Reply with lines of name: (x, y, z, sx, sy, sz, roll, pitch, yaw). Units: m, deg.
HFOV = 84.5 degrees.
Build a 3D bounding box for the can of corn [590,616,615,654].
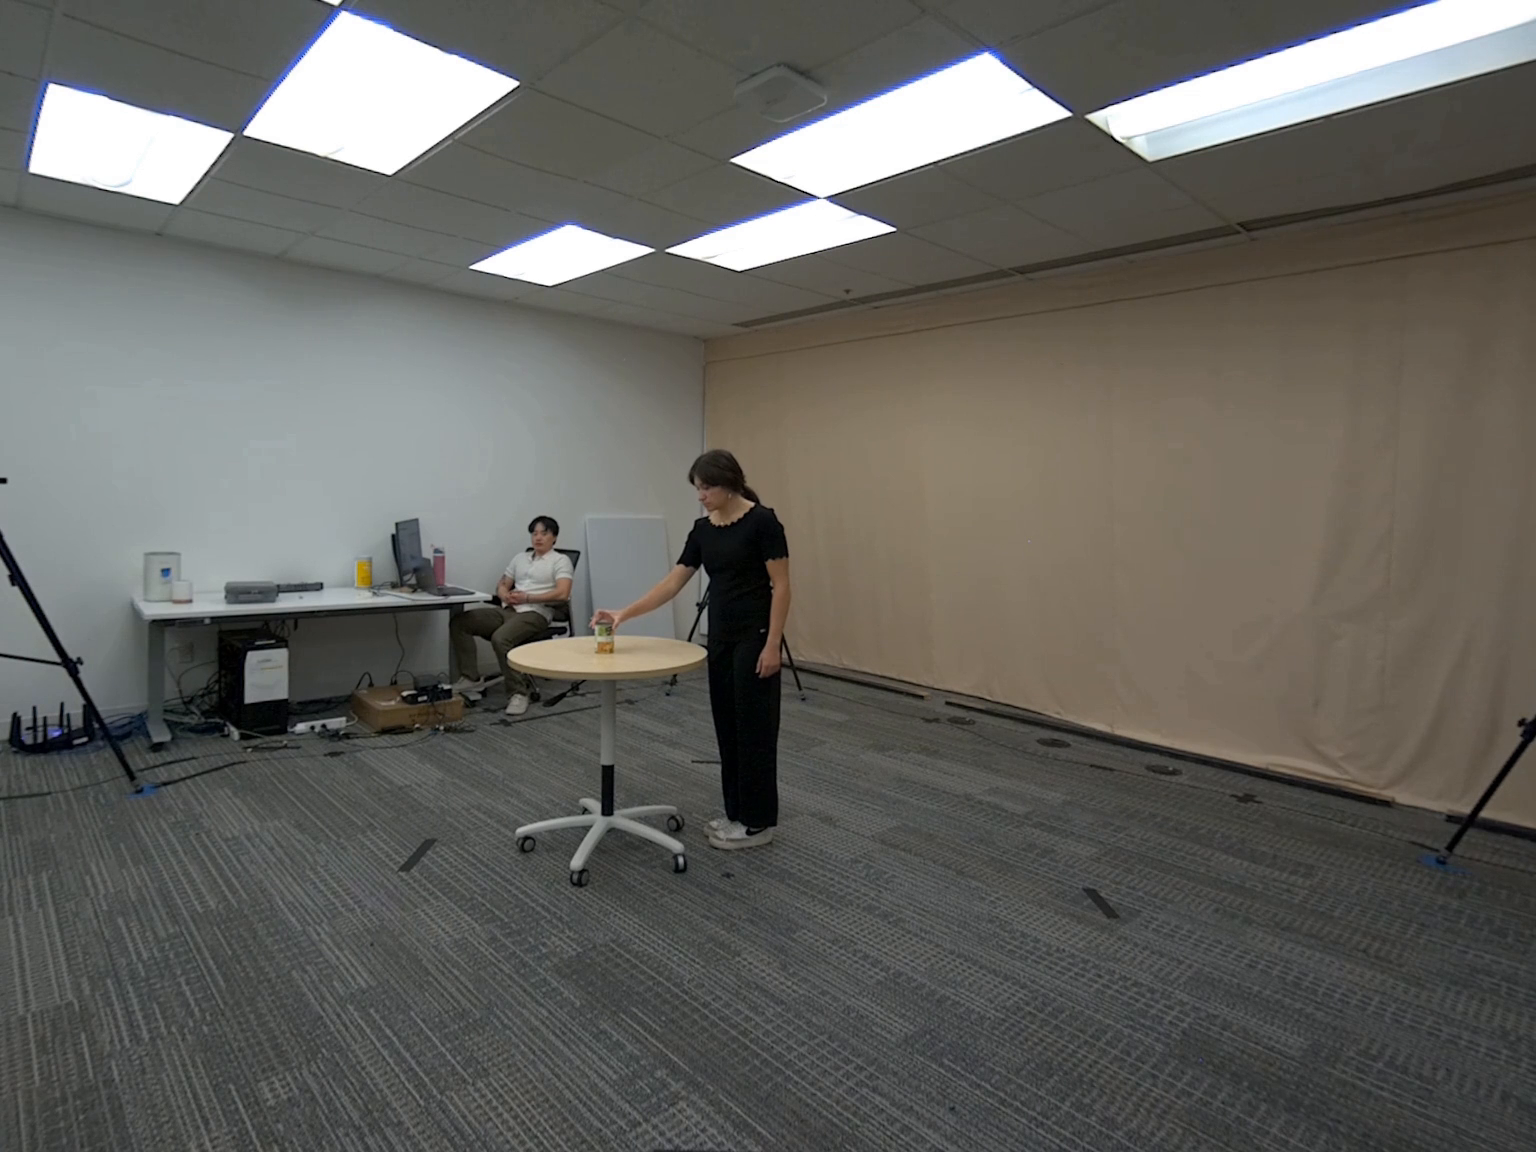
can of corn: (-0.649, 0.243, 3.259, 0.074, 0.111, 0.074, 0, -2, -1)
